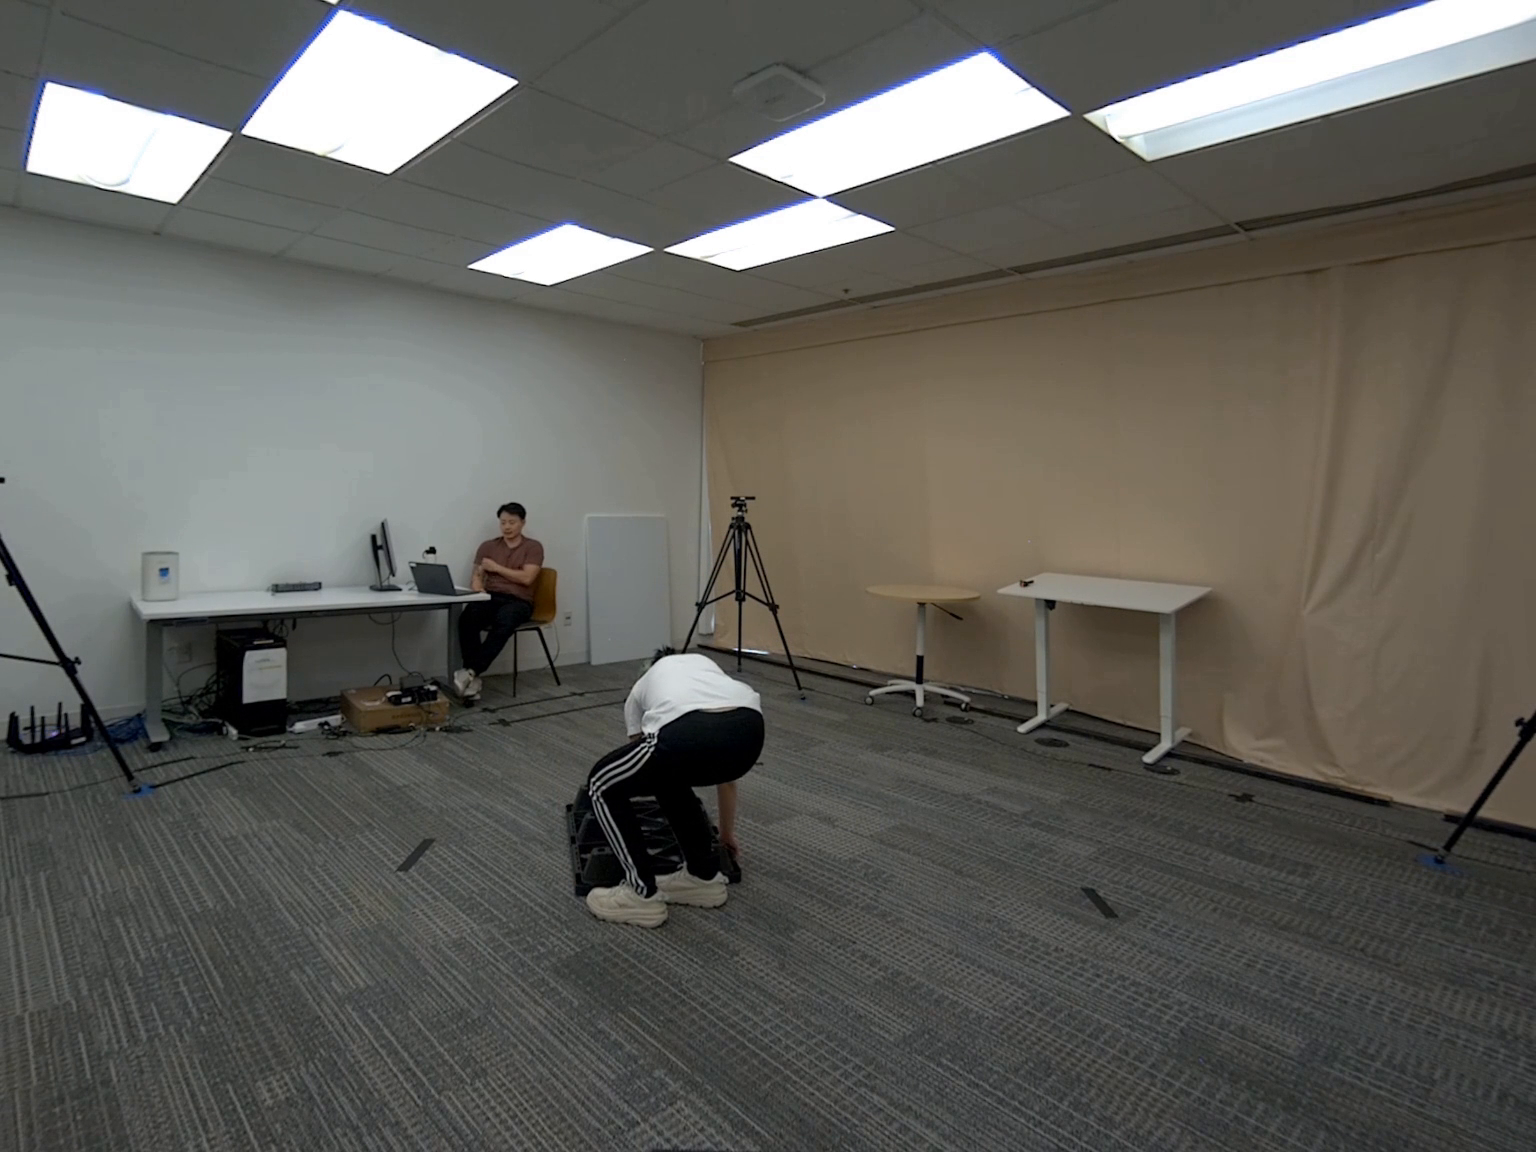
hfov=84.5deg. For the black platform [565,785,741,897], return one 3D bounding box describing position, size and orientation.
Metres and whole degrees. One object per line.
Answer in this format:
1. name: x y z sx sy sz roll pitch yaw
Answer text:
1. black platform: -0.496 1.003 3.354 0.598 0.143 0.817 1 5 -16
